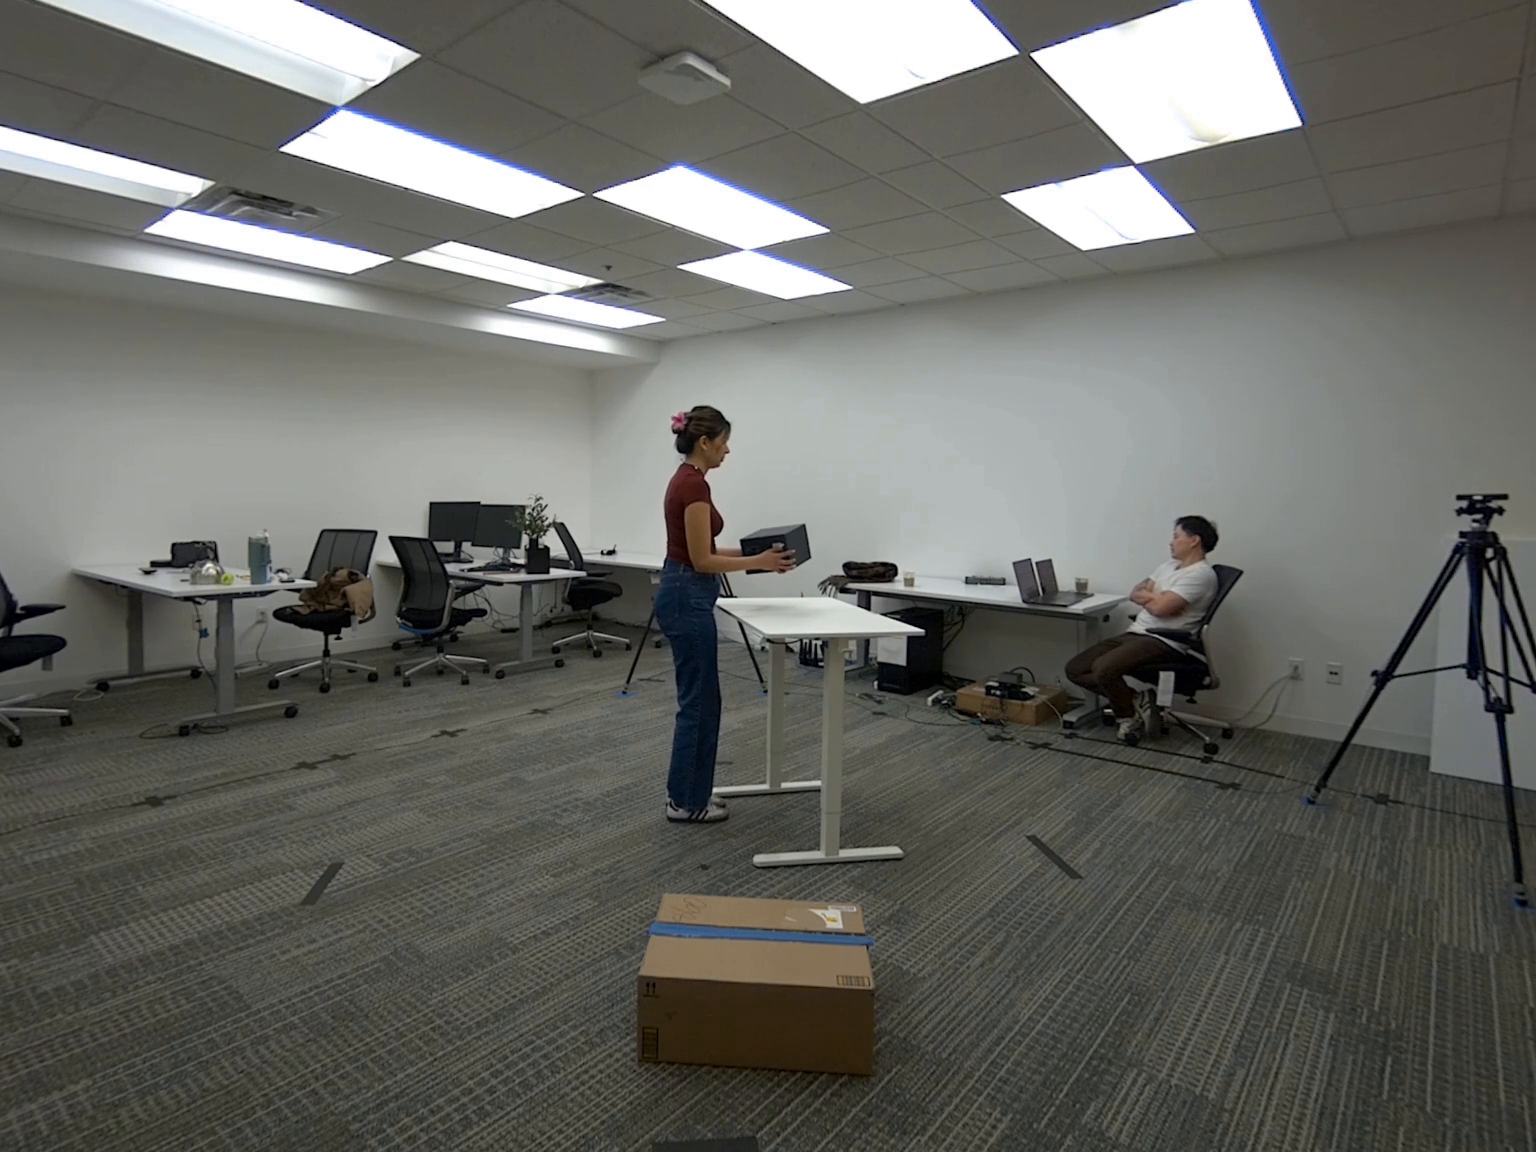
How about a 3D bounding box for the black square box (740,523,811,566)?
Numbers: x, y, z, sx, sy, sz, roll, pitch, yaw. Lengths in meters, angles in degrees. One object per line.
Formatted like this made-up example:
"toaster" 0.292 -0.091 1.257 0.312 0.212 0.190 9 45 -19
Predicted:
"black square box" 0.023 -0.117 3.637 0.222 0.154 0.225 -5 11 27
